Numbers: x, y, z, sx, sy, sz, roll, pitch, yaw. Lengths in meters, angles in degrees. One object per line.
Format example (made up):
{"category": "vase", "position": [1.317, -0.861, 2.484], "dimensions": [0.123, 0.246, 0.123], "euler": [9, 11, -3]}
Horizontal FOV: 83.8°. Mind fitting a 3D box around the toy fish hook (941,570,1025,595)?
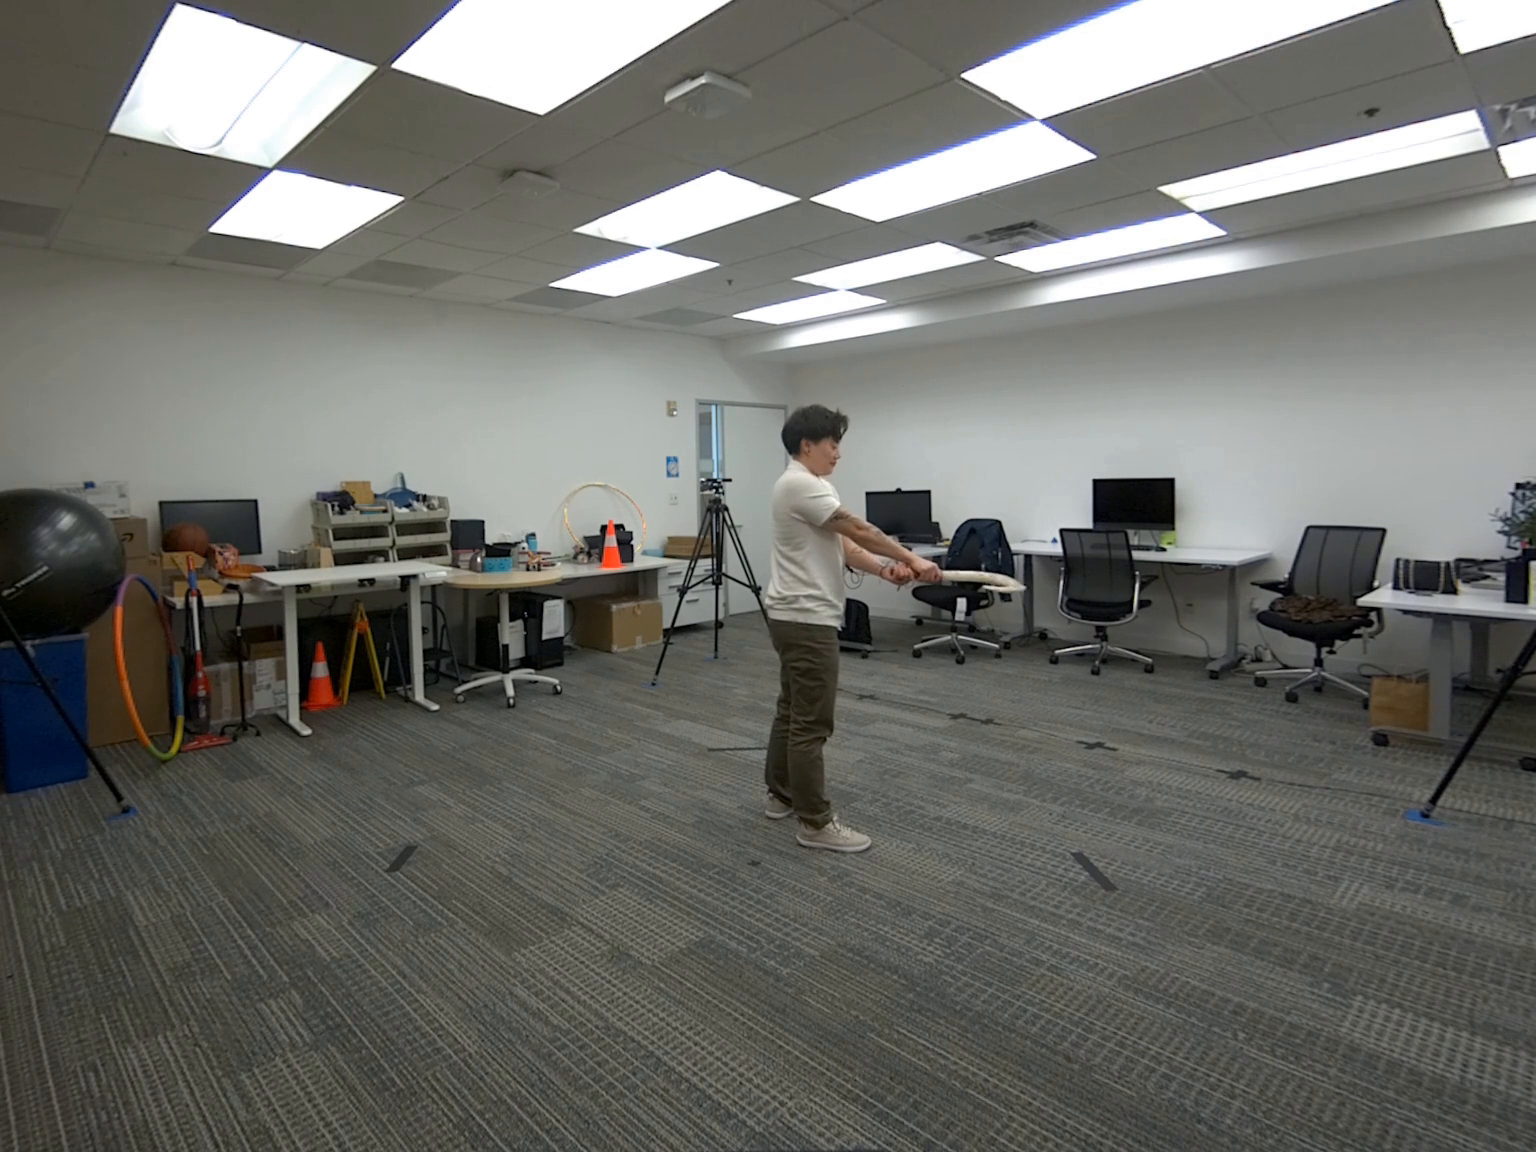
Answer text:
{"category": "toy fish hook", "position": [0.711, 0.011, 3.216], "dimensions": [0.502, 0.048, 0.228], "euler": [3, 9, -9]}
